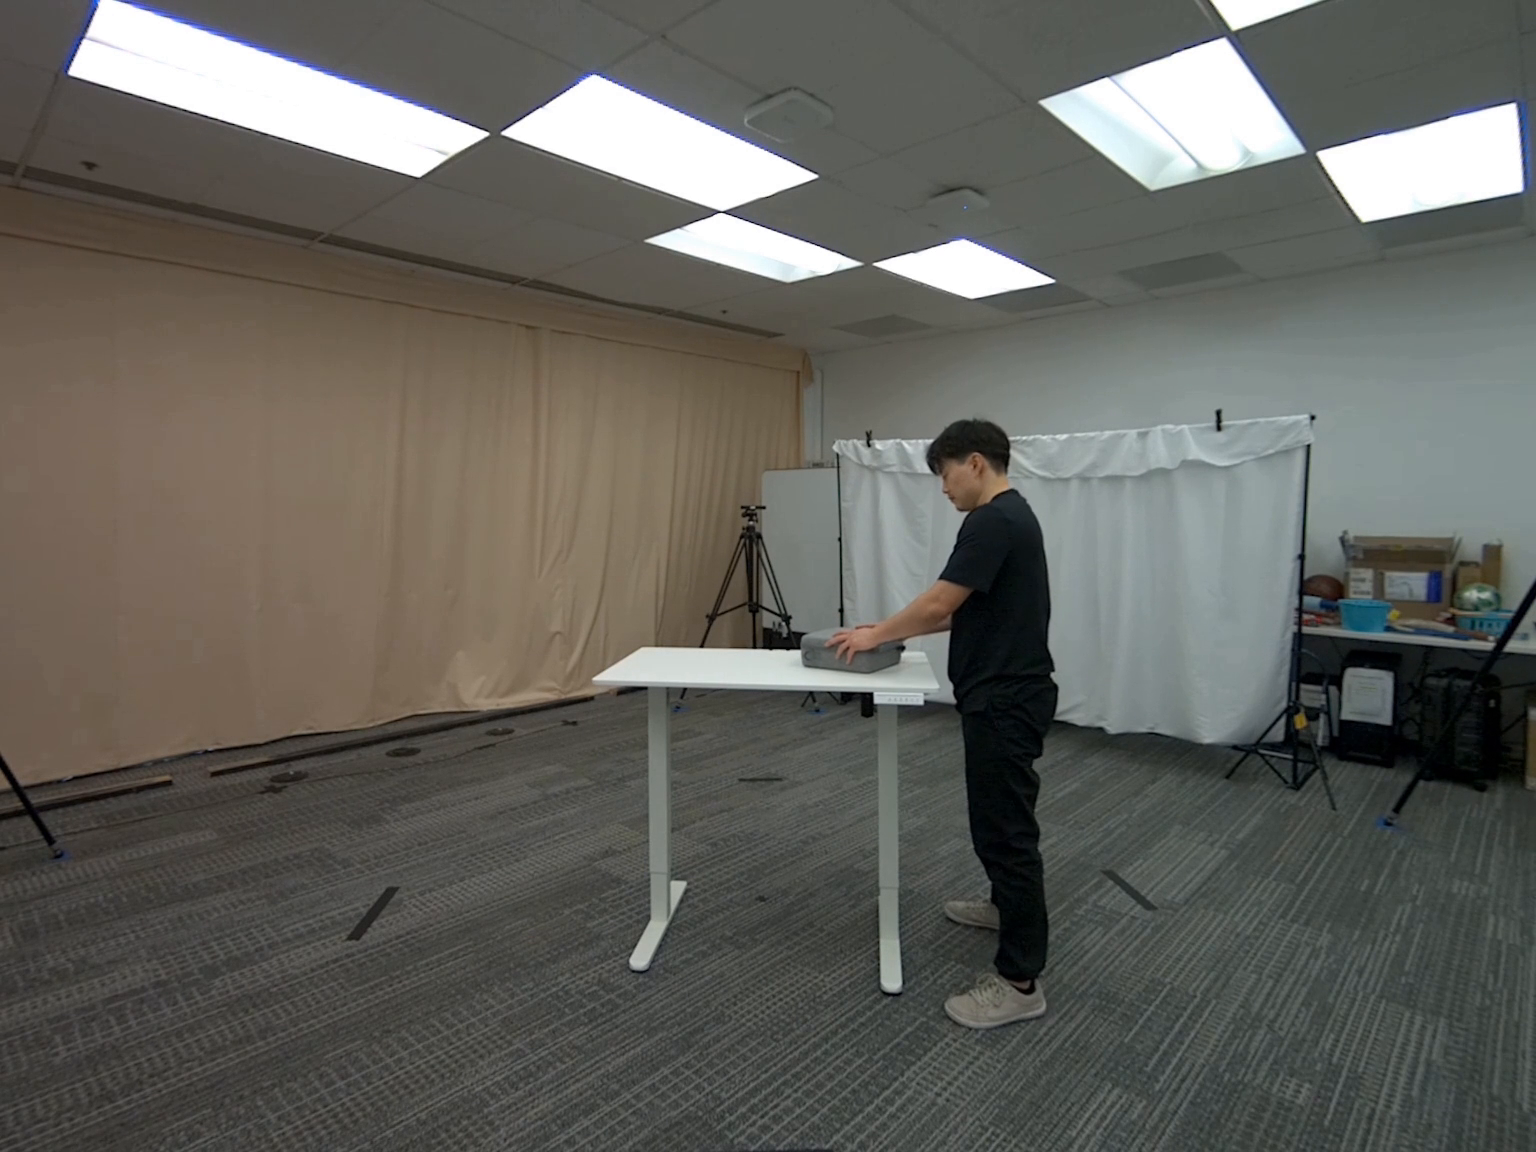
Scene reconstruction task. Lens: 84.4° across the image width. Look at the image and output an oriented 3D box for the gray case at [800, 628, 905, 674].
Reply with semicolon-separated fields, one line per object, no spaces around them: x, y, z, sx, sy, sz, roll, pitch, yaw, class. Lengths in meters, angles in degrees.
0.264;0.235;2.683;0.269;0.104;0.250;3;7;33;gray case
